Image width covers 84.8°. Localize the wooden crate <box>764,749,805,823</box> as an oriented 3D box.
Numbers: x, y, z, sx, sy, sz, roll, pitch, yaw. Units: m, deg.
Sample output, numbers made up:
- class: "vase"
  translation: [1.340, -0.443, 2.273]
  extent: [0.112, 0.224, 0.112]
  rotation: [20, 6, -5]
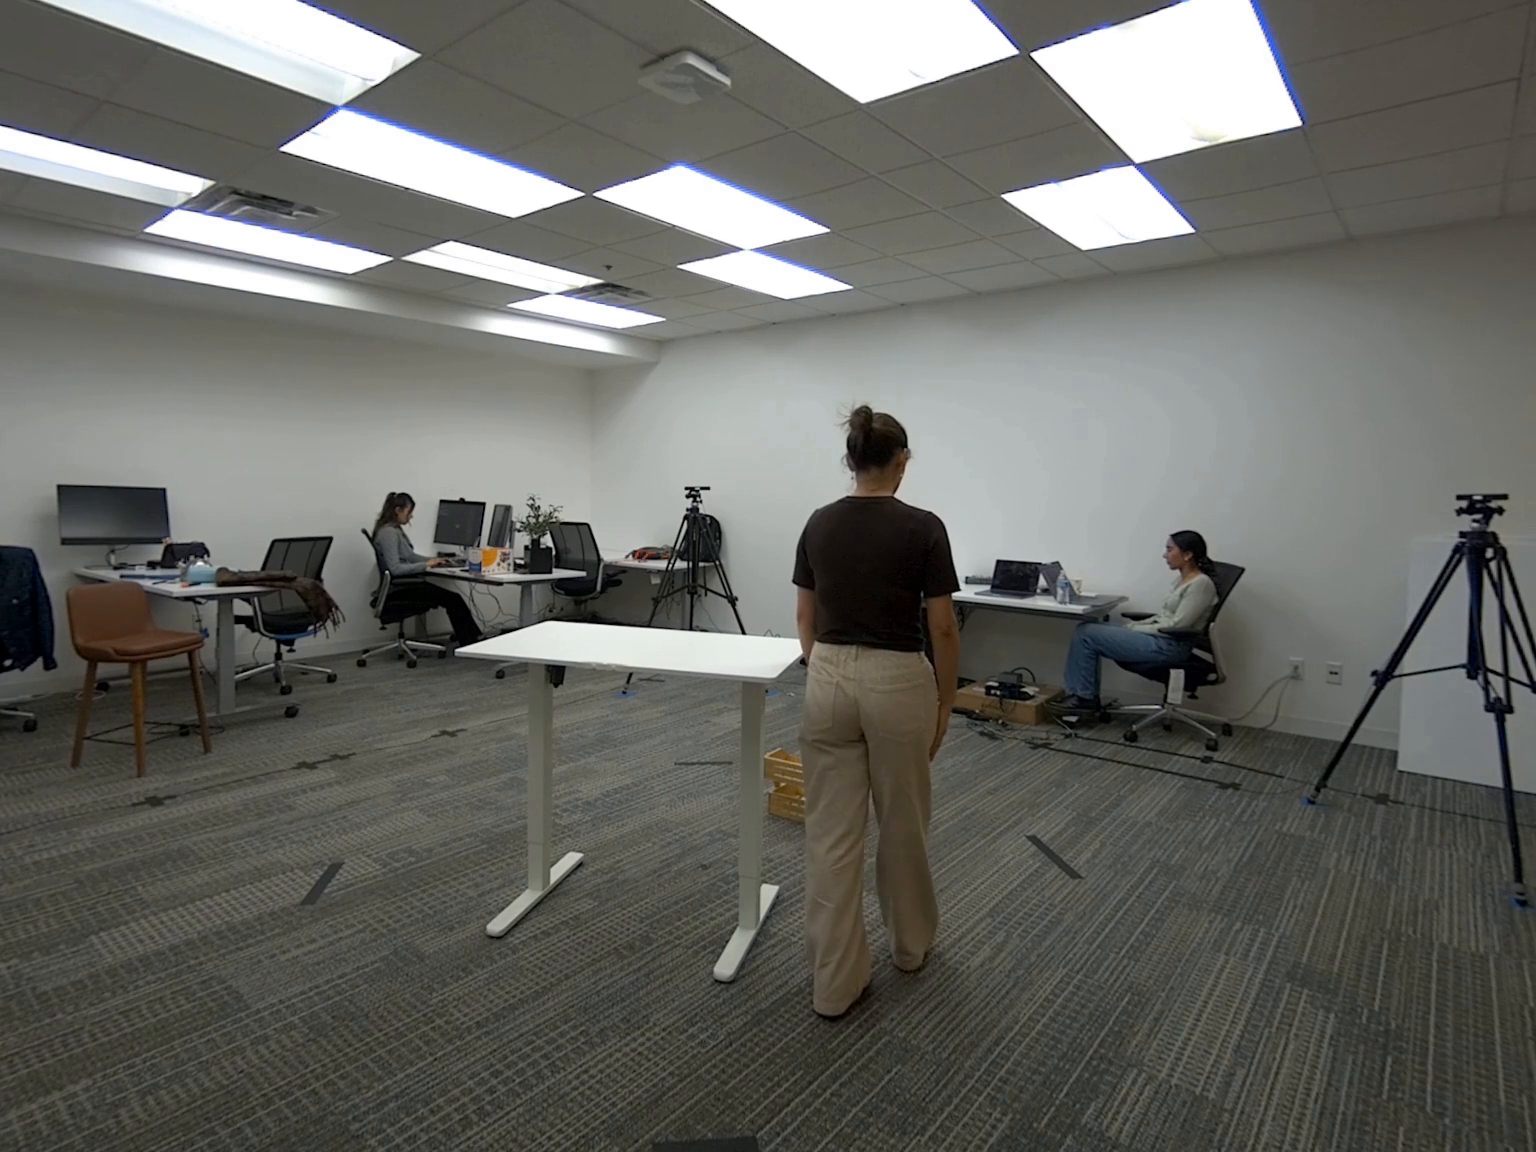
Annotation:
- class: "wooden crate"
  translation: [0.173, 0.884, 3.637]
  extent: [0.334, 0.272, 0.294]
  rotation: [4, 6, 32]
